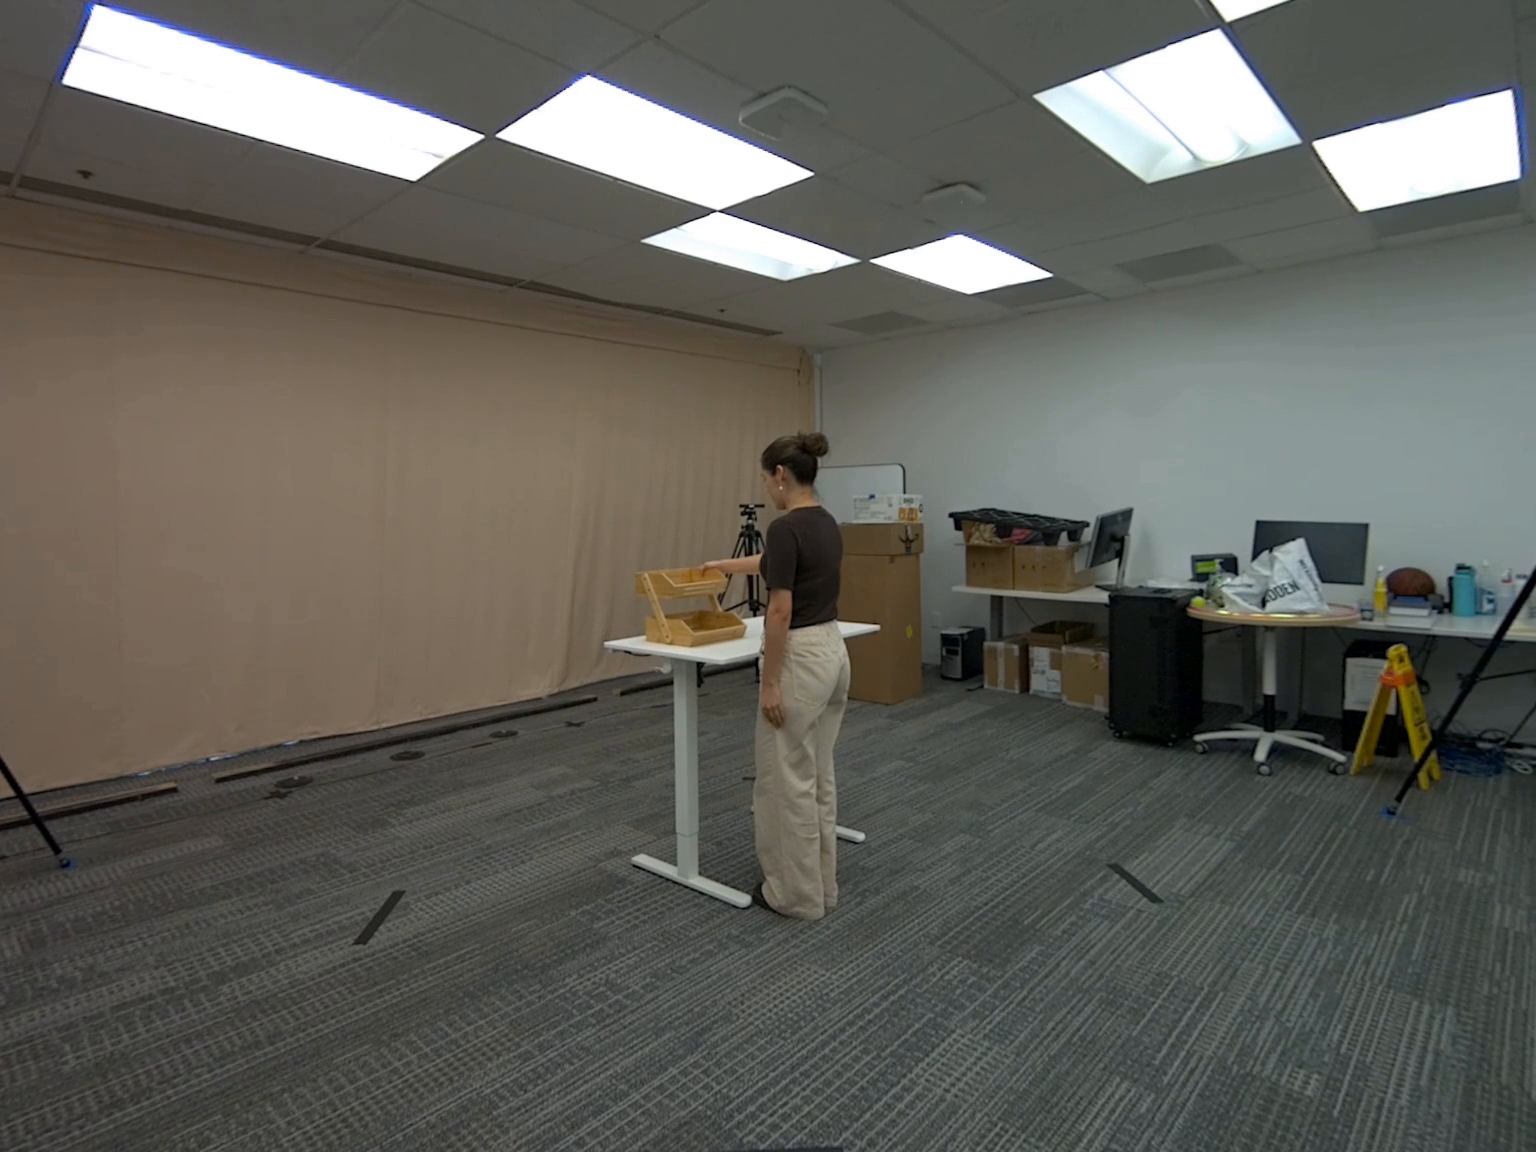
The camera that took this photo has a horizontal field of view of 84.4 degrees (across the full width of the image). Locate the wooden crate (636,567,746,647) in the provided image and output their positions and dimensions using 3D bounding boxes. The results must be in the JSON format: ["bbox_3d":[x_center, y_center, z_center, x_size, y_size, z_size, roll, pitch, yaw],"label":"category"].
[{"bbox_3d":[-0.288,0.110,3.217,0.312,0.273,0.315,1,3,40],"label":"wooden crate"}]
